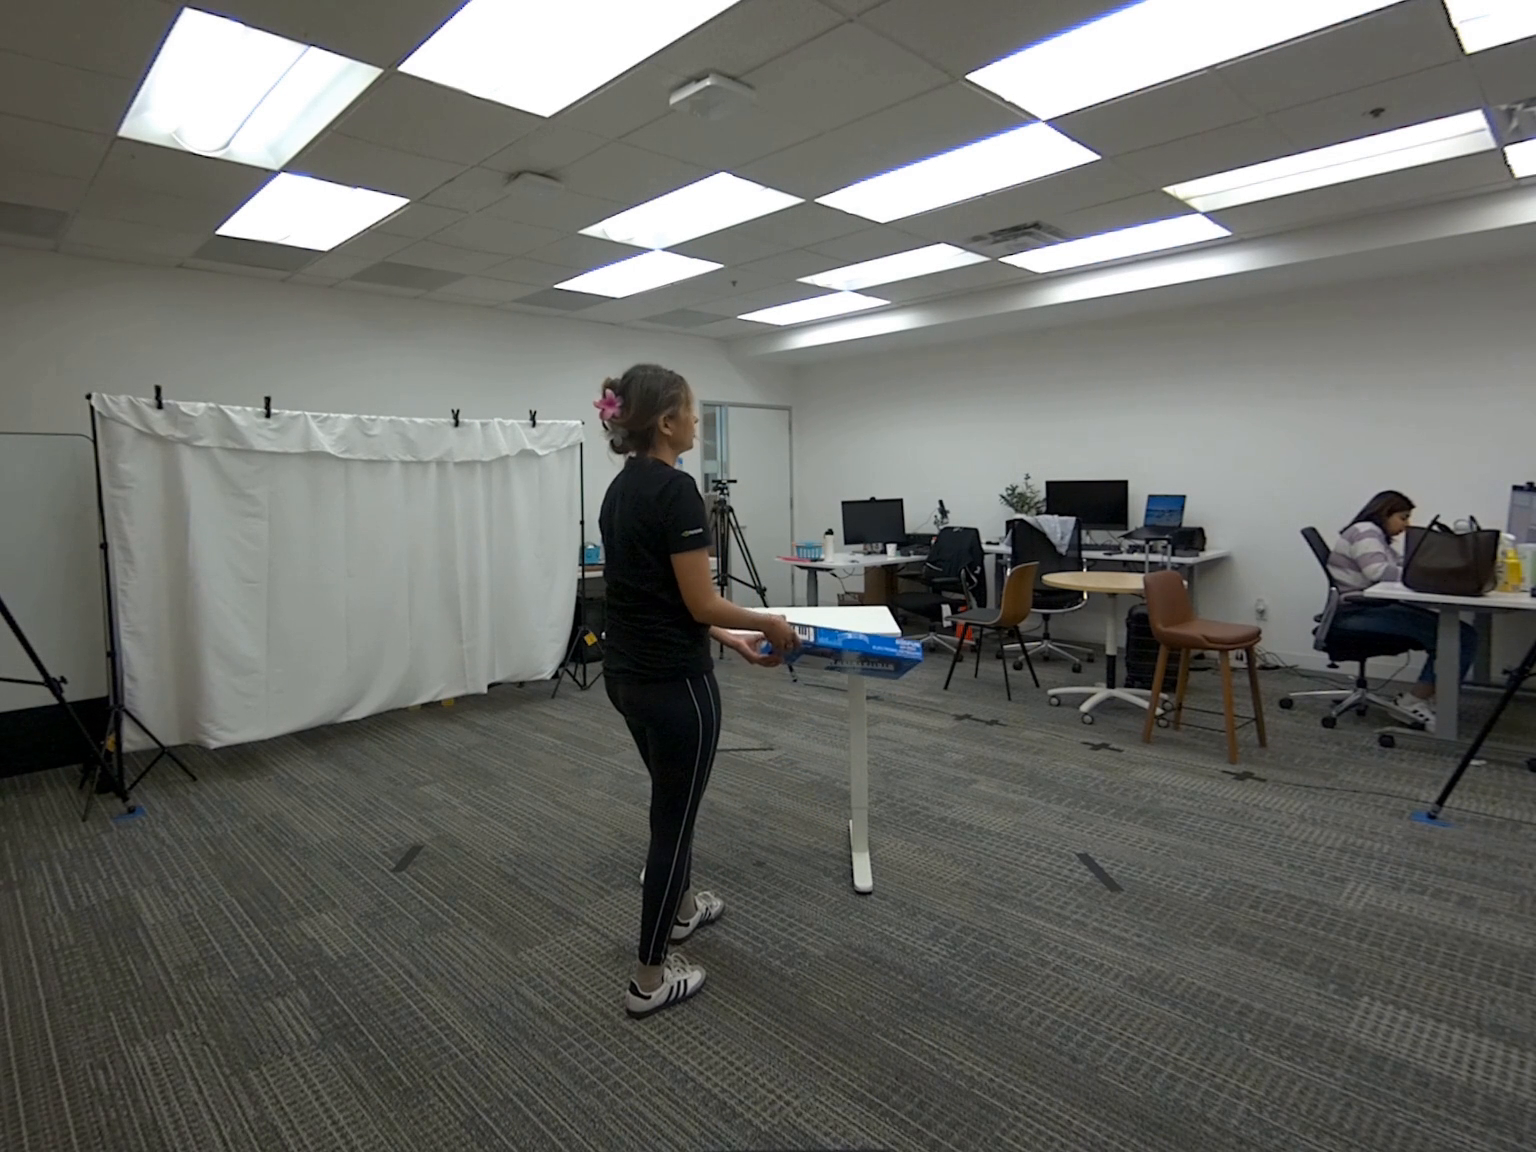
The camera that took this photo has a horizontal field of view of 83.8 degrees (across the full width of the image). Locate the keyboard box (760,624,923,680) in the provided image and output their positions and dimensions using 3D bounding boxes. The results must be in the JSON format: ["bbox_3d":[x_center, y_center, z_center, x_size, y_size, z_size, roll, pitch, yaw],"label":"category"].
[{"bbox_3d":[0.218,0.220,2.480,0.430,0.060,0.175,9,-30,-14],"label":"keyboard box"}]
